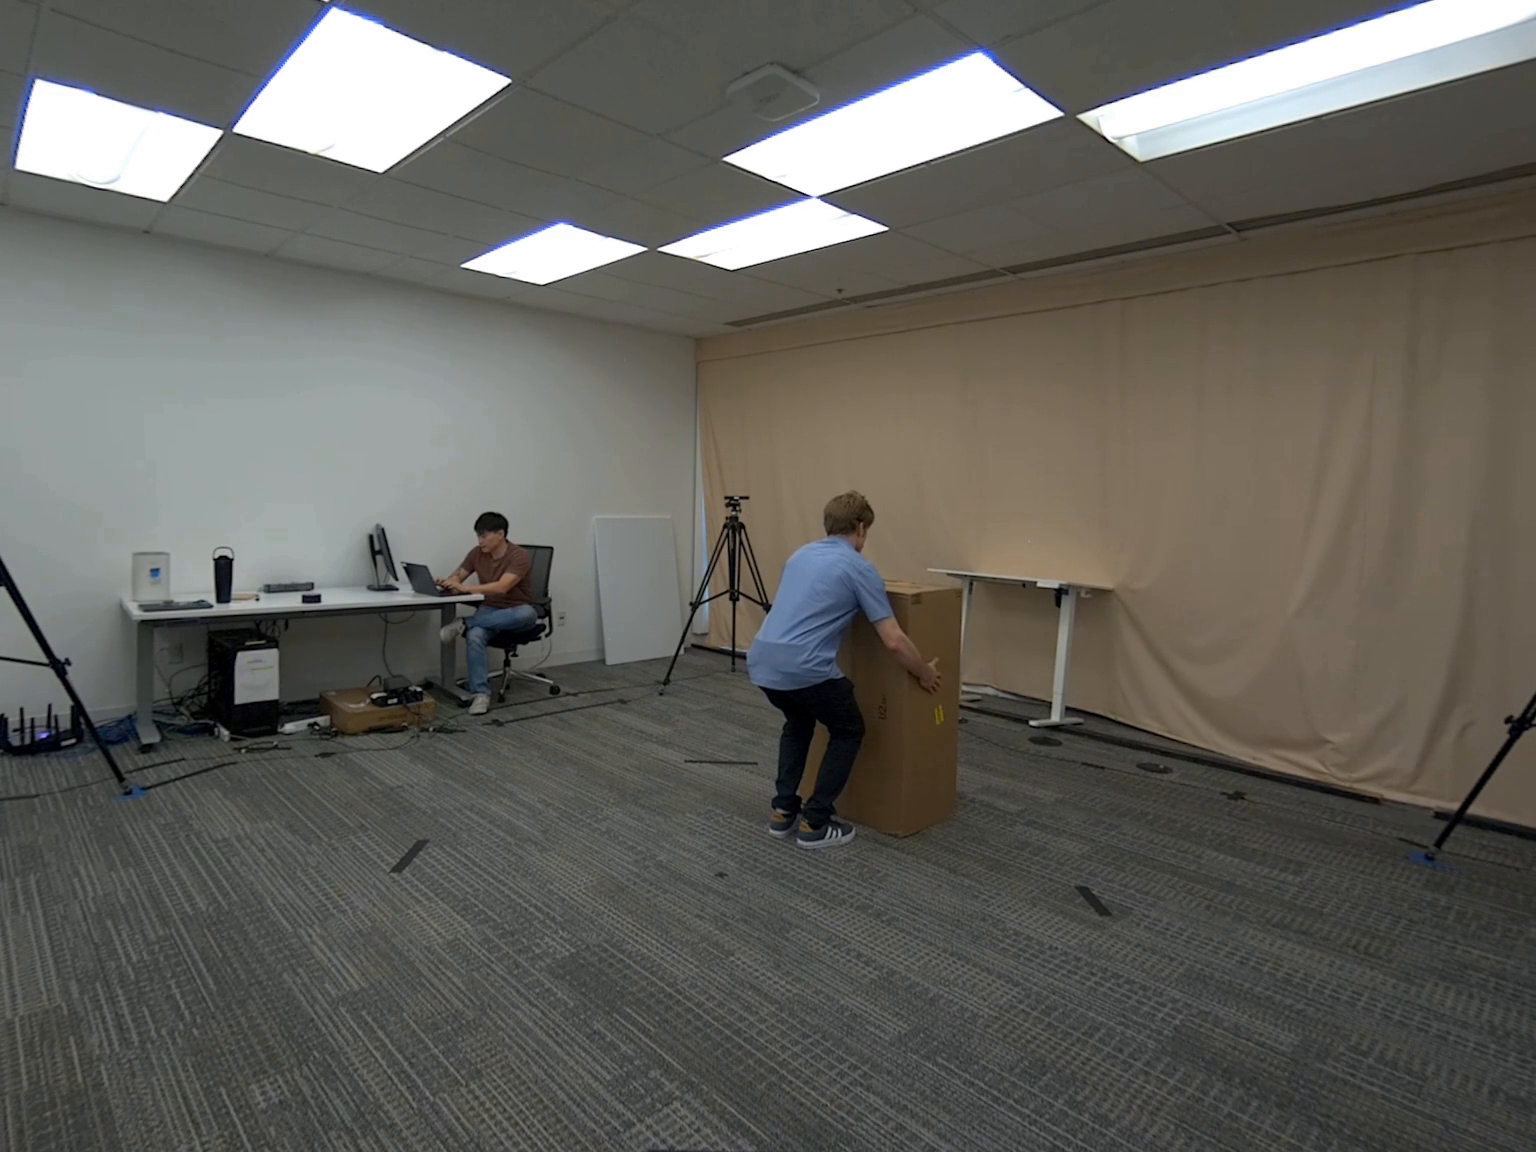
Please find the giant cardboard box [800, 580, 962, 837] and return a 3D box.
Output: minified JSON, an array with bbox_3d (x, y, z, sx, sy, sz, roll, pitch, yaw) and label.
[{"bbox_3d":[0.498,0.543,3.813,0.416,1.023,0.592,-2,5,-45],"label":"giant cardboard box"}]
